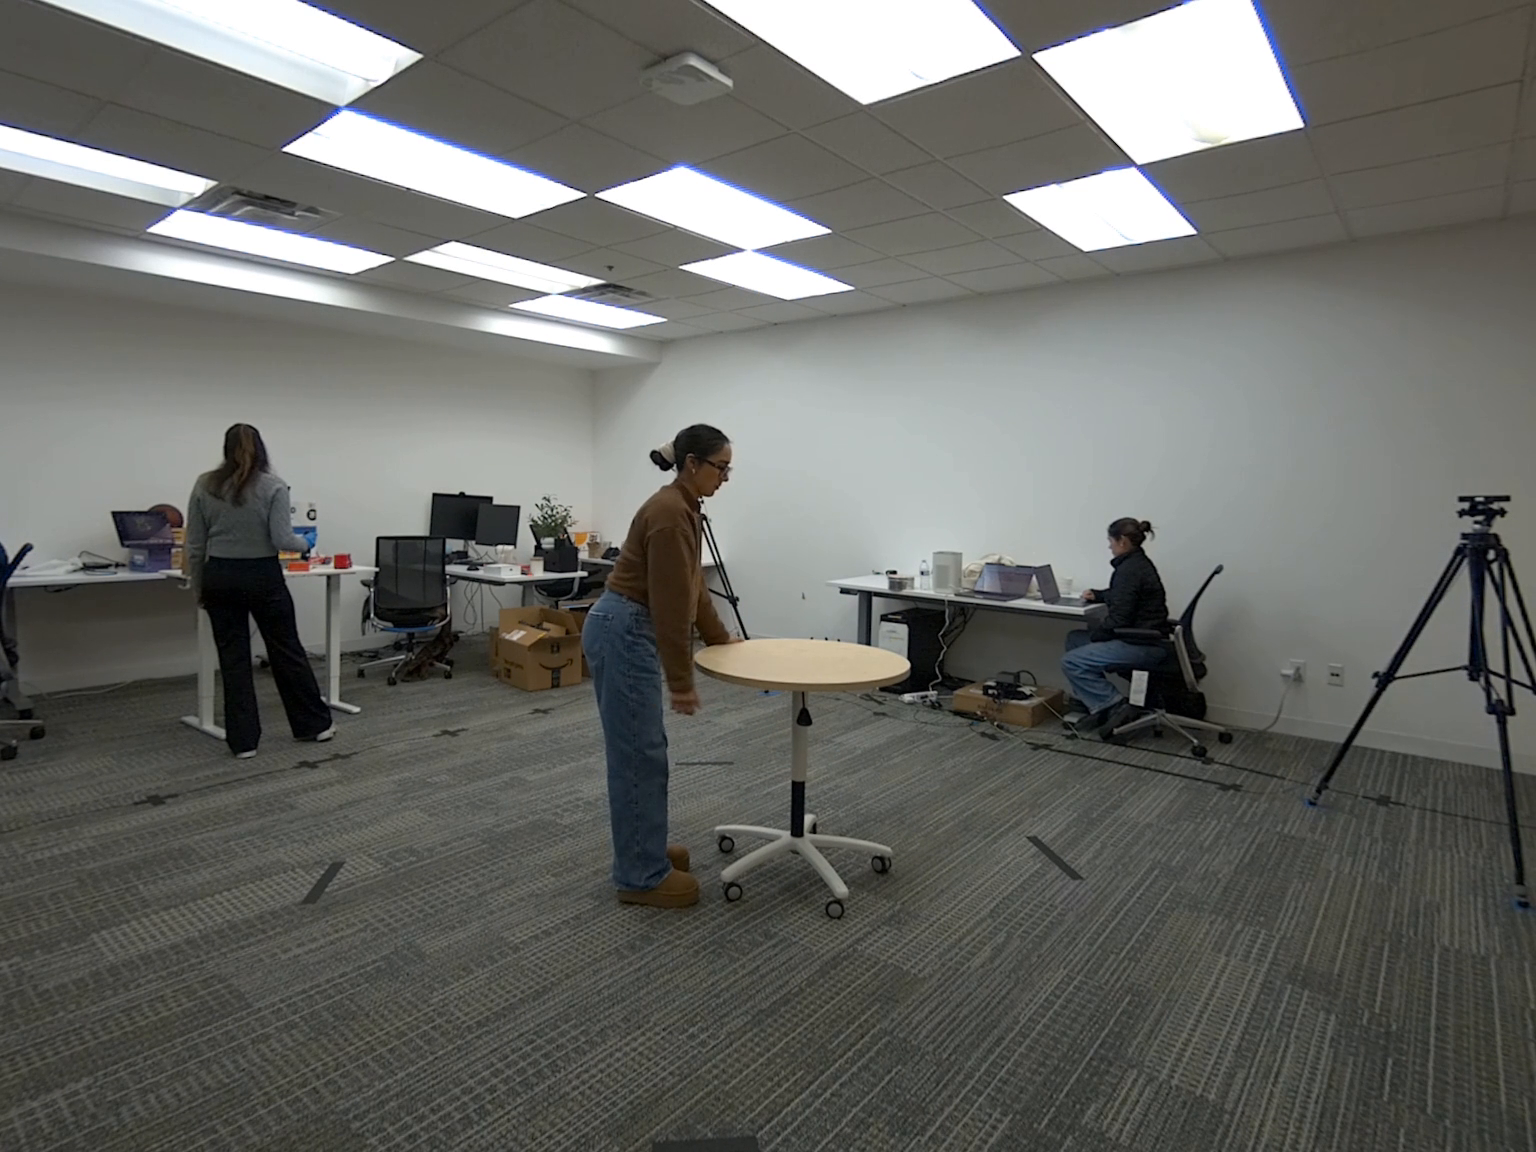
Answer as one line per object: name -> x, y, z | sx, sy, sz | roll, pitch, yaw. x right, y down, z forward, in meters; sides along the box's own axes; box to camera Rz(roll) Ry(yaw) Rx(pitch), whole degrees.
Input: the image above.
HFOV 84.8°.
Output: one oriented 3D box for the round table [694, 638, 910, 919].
round table -> 0.108, 0.689, 3.060 | 0.763, 0.791, 0.768 | 1, 4, -2
